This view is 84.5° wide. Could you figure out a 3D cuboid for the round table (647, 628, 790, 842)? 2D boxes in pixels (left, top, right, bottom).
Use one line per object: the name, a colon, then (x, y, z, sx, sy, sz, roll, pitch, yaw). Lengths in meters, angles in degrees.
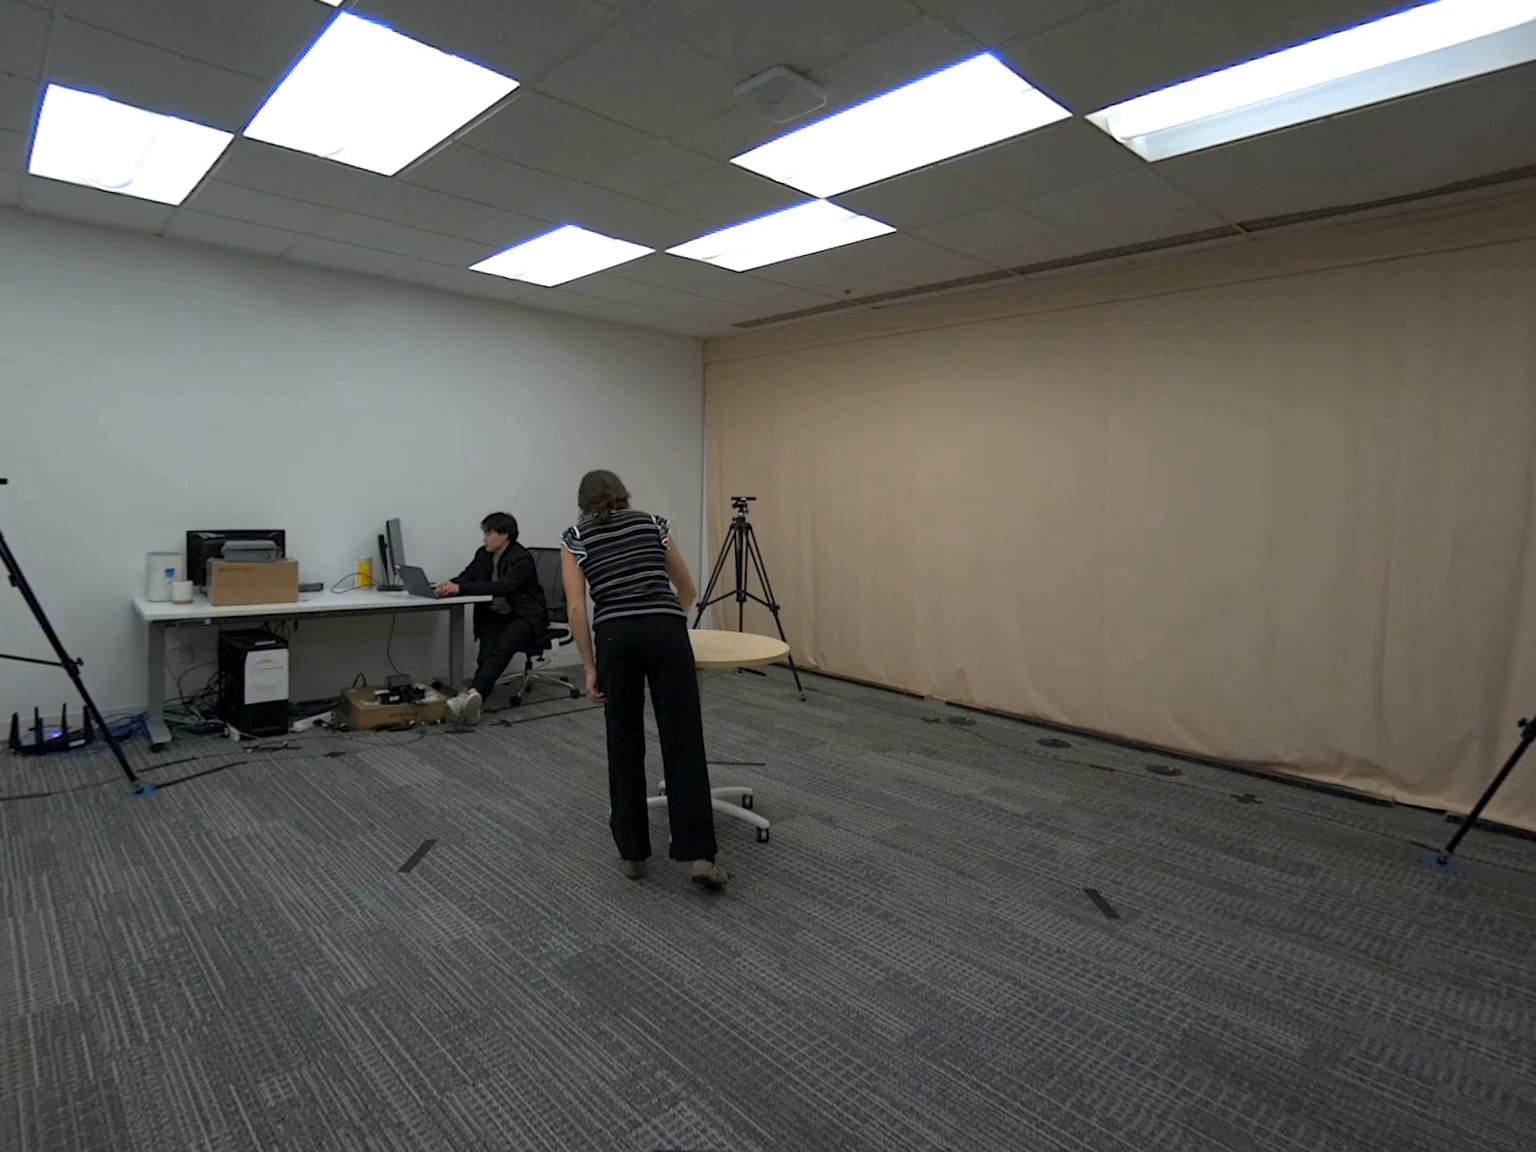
round table: (-0.314, 0.678, 3.557, 0.763, 0.792, 0.766, 2, 4, -1)
